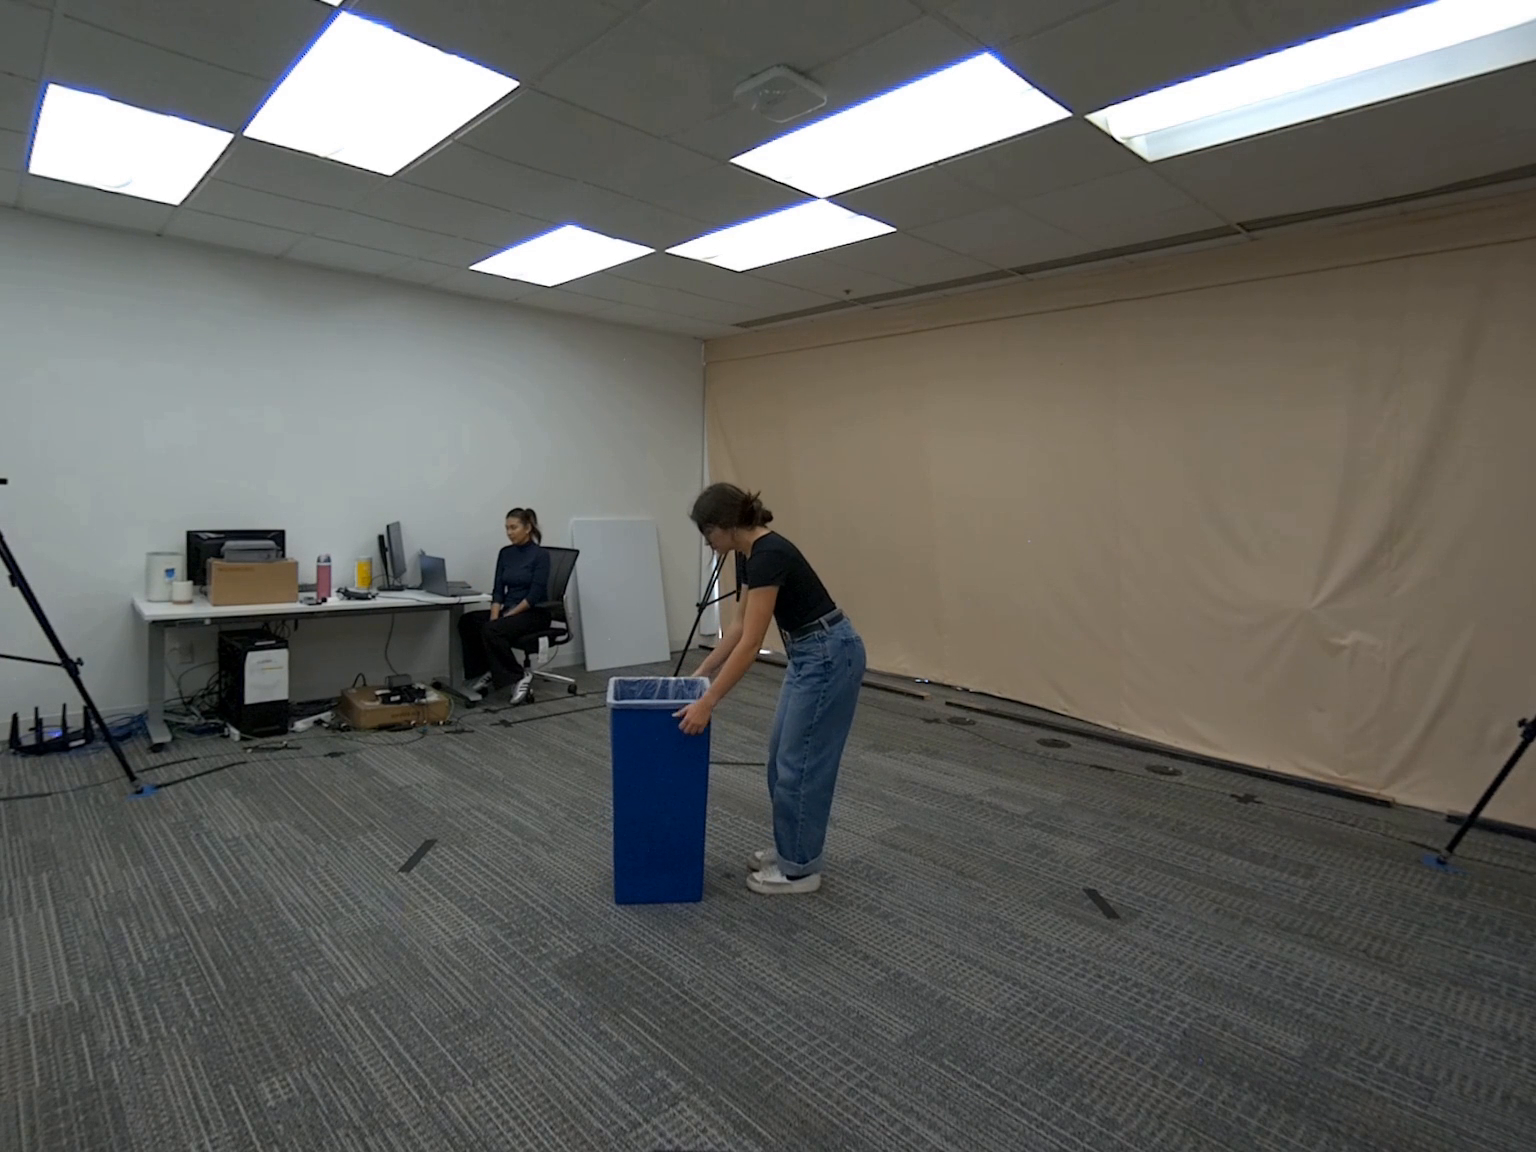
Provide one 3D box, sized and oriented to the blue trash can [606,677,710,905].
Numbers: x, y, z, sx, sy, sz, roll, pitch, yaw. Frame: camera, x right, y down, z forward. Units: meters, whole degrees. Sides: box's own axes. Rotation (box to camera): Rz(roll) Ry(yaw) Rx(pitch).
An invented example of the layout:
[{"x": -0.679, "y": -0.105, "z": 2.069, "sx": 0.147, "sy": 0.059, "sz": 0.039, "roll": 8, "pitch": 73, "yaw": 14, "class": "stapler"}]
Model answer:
[{"x": -0.391, "y": 0.754, "z": 3.003, "sx": 0.376, "sy": 0.712, "sz": 0.377, "roll": 0, "pitch": 3, "yaw": -8, "class": "blue trash can"}]
